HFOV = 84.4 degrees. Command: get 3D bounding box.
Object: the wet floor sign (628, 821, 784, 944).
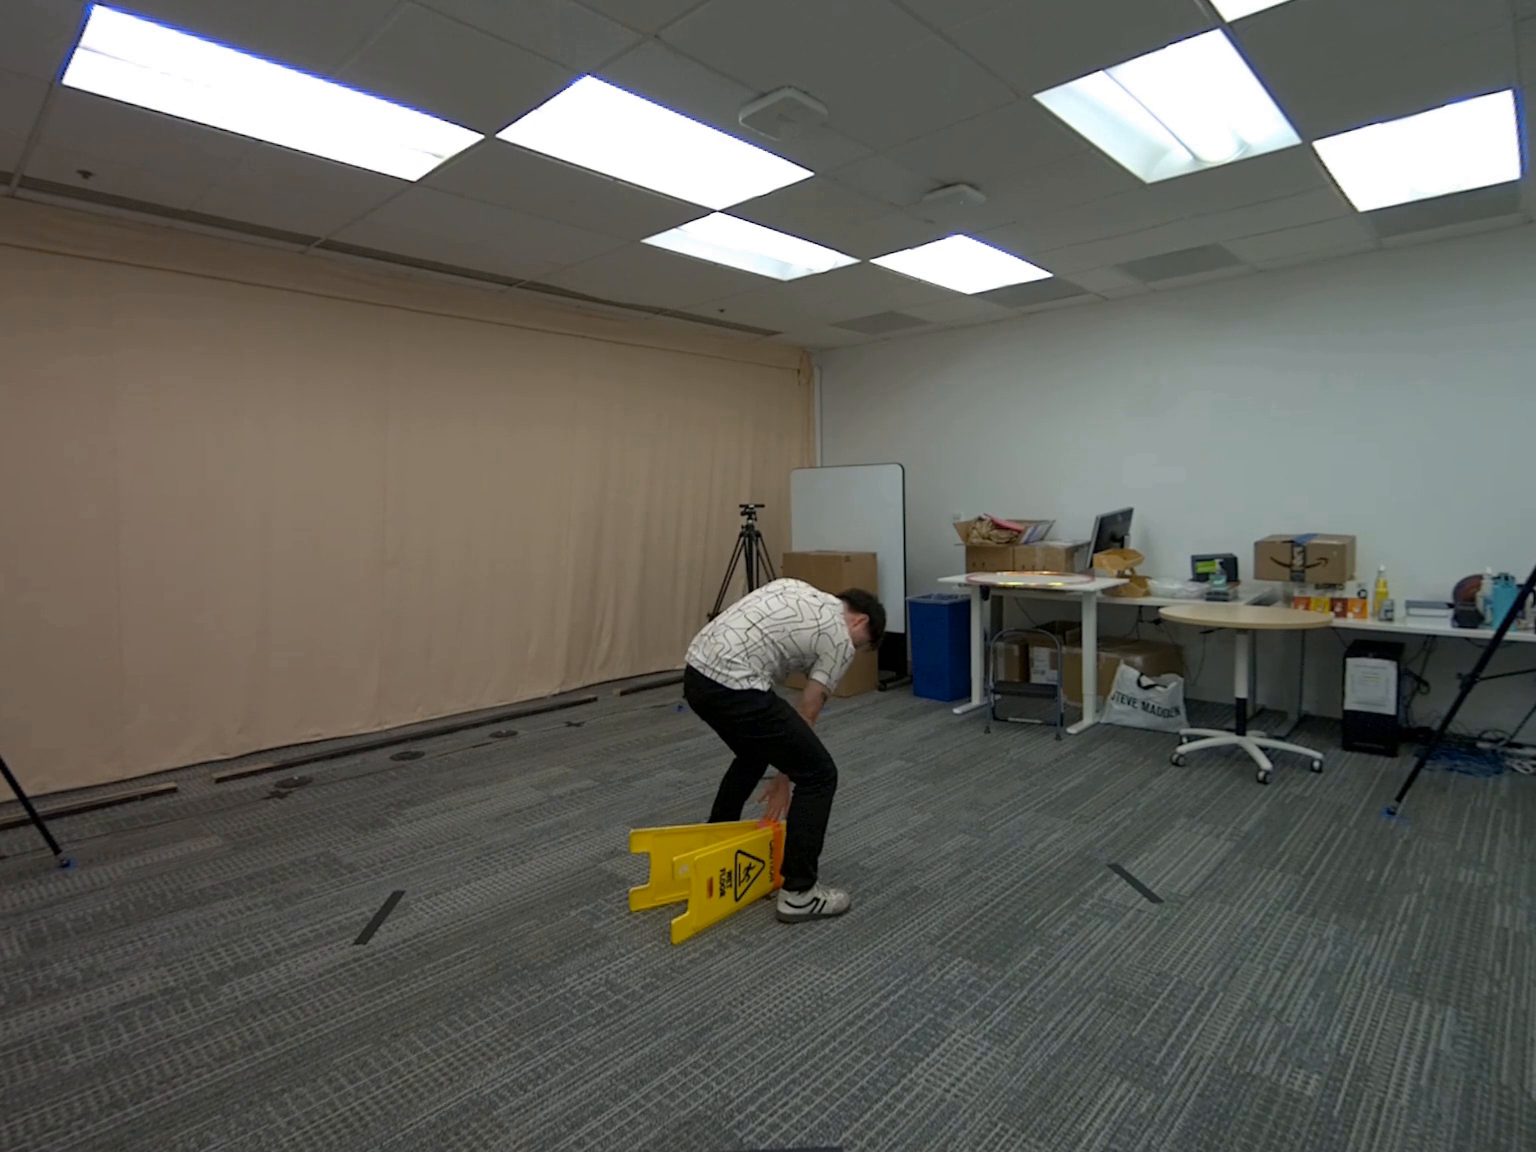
[{"bbox_3d":[-0.135,1.015,2.963,0.627,0.282,0.299,-2,4,-36],"label":"wet floor sign"}]
